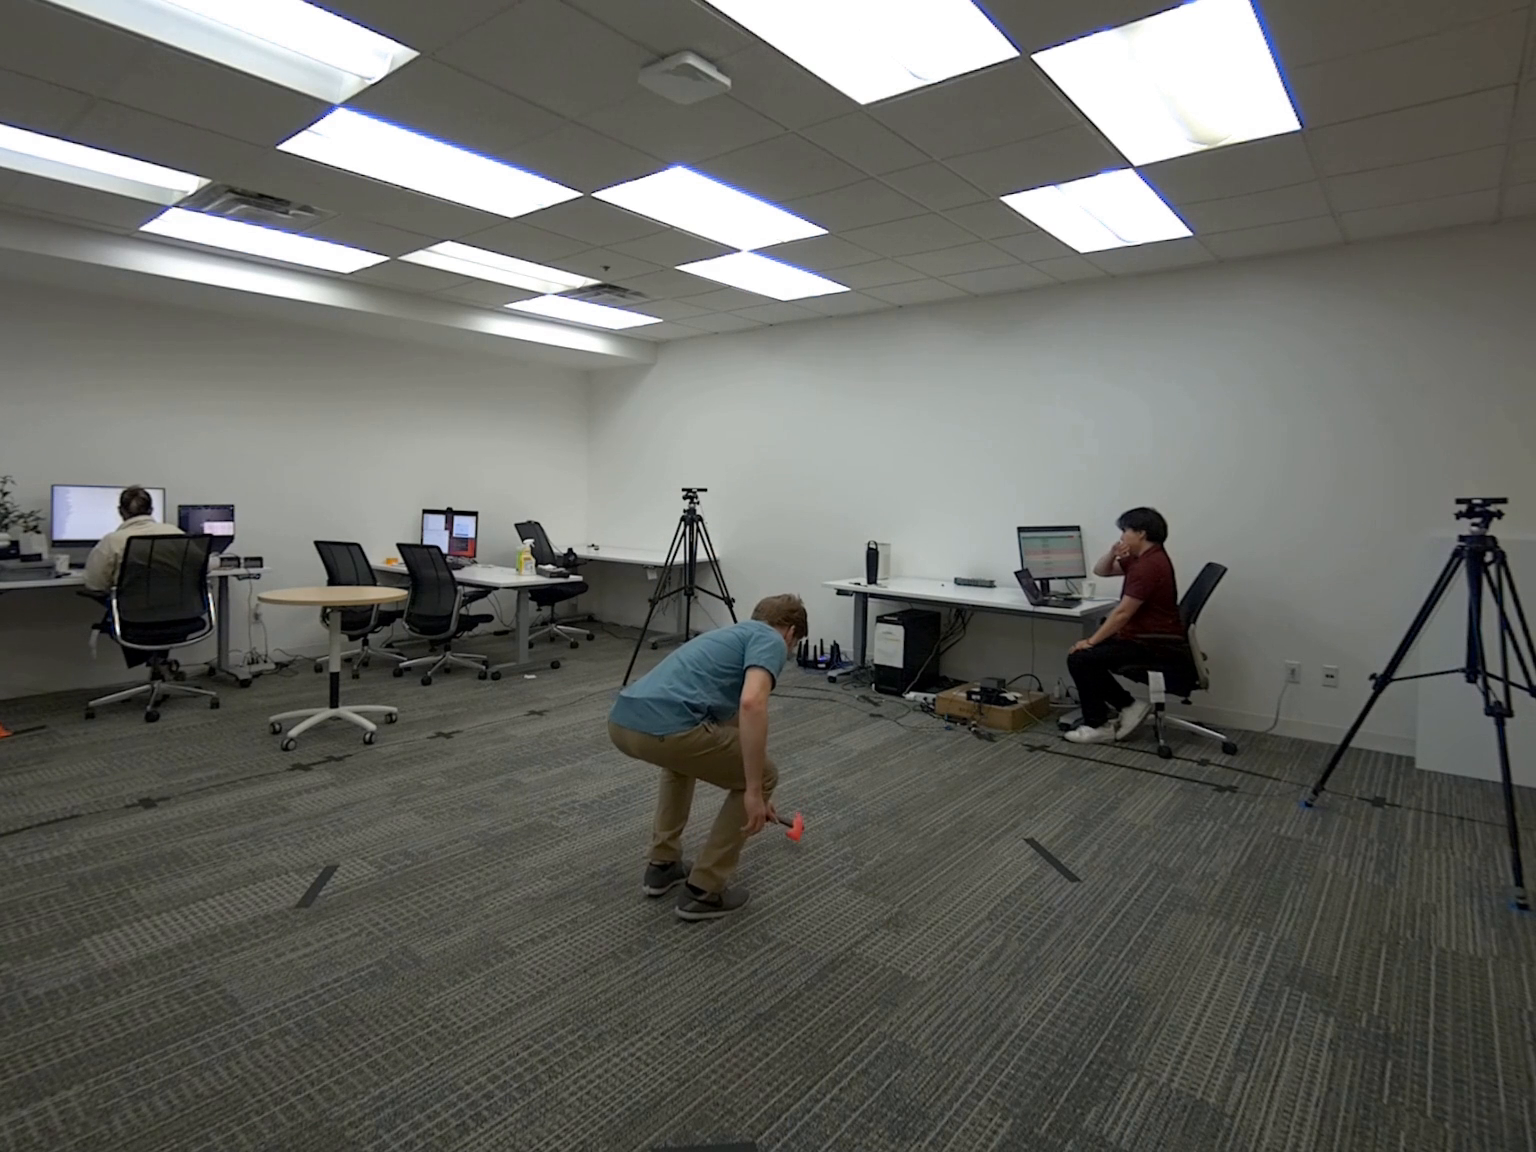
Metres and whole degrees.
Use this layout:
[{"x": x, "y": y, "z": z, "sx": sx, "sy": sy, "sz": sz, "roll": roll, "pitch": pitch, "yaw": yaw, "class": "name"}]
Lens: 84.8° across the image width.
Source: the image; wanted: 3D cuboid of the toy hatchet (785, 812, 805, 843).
[{"x": 0.020, "y": 0.970, "z": 3.298, "sx": 0.263, "sy": 0.029, "sz": 0.136, "roll": 6, "pitch": 38, "yaw": -24, "class": "toy hatchet"}]
